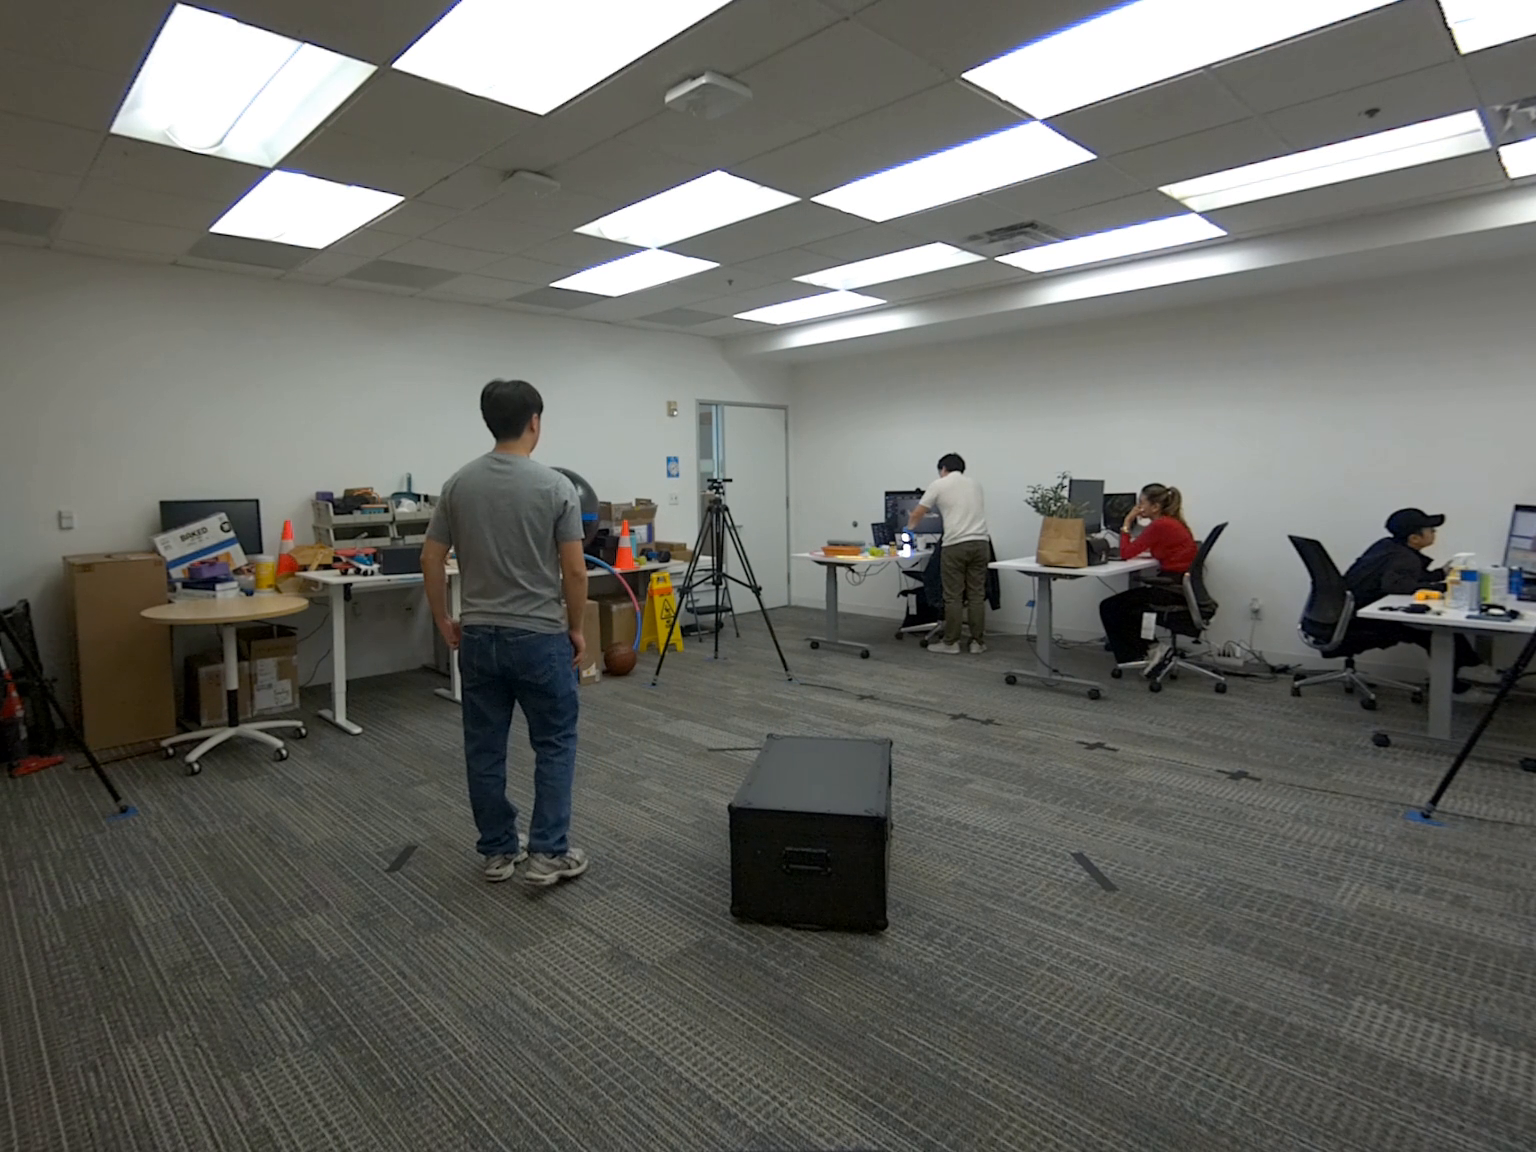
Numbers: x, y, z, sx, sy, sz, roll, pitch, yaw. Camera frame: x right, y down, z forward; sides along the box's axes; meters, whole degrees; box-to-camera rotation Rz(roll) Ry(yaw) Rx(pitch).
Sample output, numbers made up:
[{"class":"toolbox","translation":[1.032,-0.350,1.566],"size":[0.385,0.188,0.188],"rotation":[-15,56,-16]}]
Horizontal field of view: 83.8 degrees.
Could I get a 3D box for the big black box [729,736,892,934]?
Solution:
[{"class":"big black box","translation":[0.189,0.856,3.033],"size":[0.527,0.394,0.856],"rotation":[-1,6,11]}]
